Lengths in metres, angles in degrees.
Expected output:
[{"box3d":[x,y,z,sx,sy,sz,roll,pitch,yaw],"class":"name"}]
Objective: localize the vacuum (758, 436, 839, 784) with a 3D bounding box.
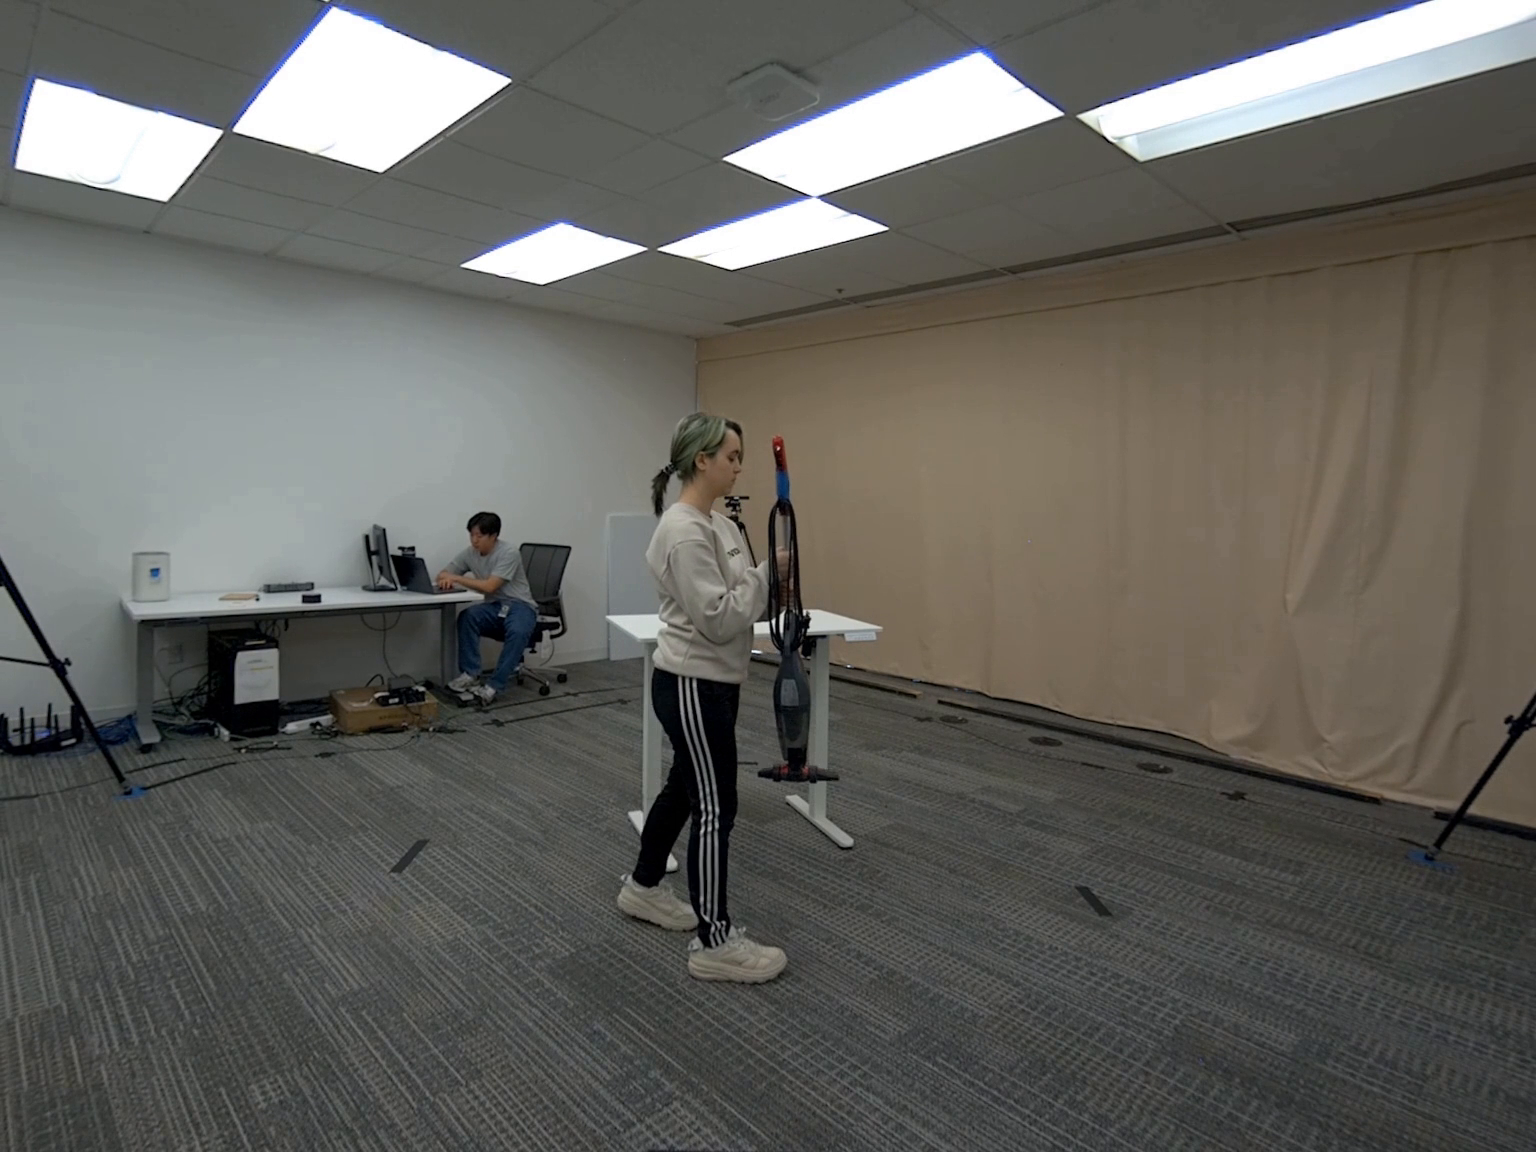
[{"box3d":[0.053,0.127,2.435,0.254,1.035,0.145,-1,17,10],"class":"vacuum"}]
